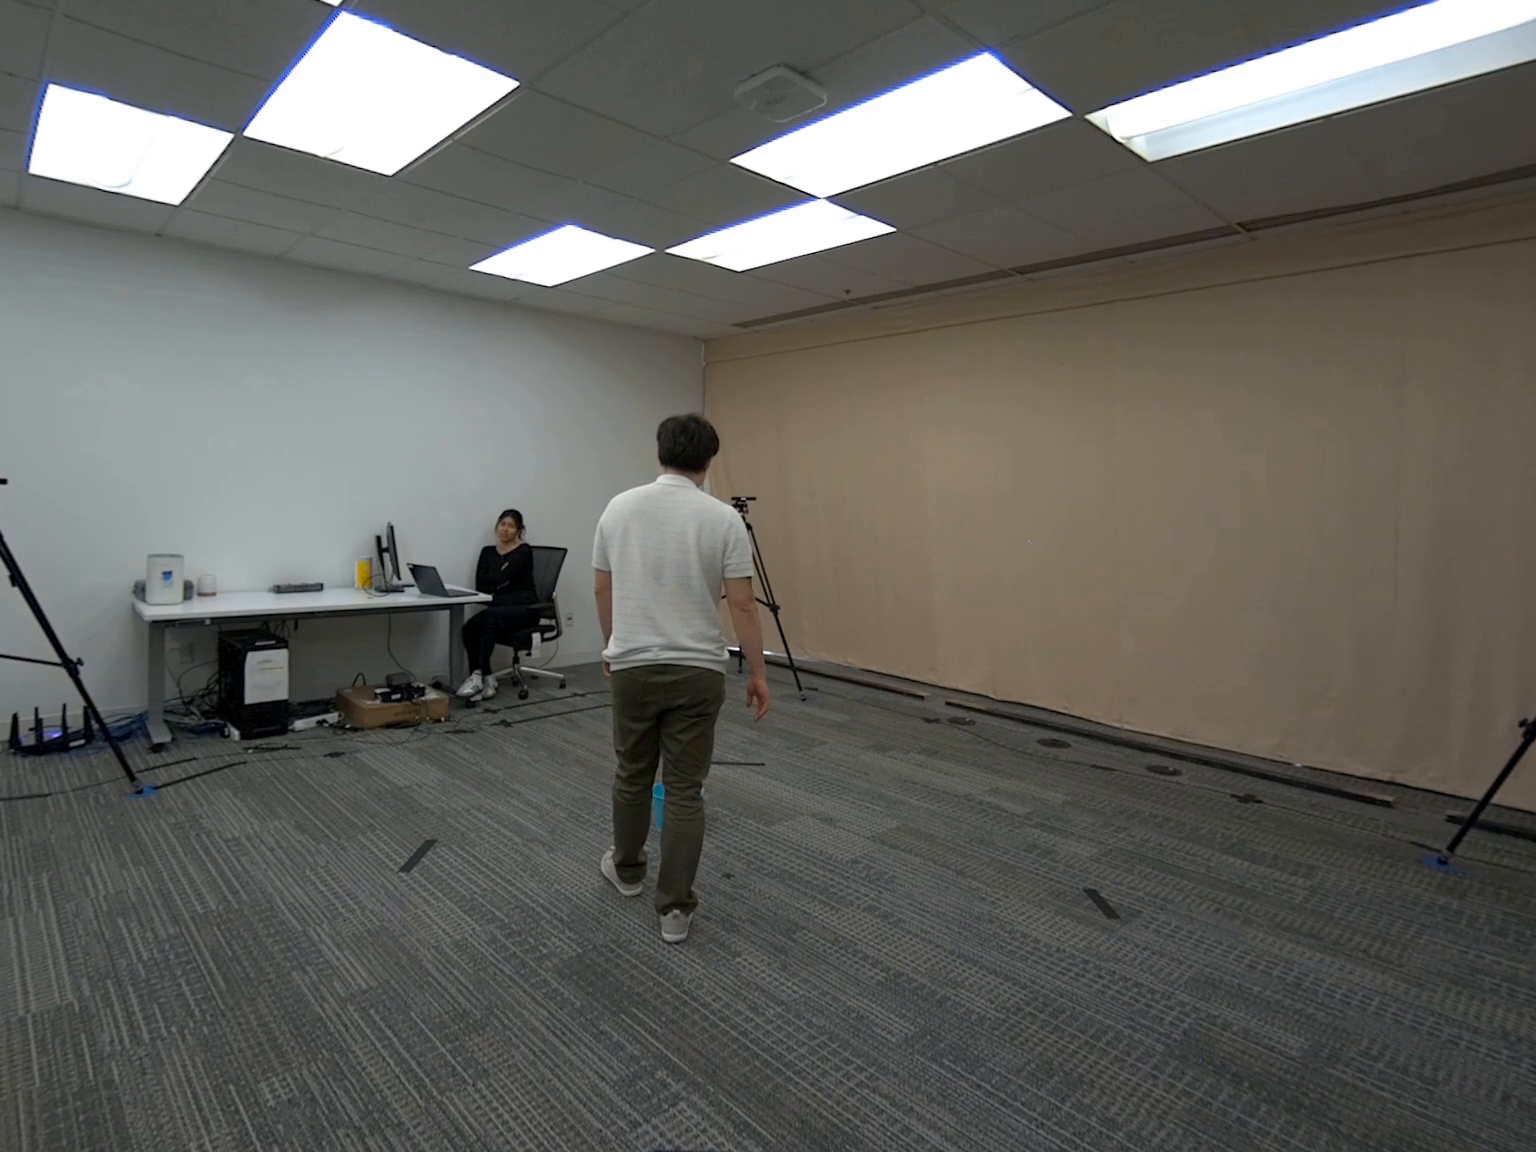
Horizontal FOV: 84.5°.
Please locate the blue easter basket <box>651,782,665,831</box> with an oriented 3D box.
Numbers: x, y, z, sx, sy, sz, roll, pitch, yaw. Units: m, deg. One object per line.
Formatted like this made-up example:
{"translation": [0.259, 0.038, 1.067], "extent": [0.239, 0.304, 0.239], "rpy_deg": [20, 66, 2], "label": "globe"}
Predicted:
{"translation": [-0.385, 0.984, 3.574], "extent": [0.243, 0.155, 0.244], "rpy_deg": [1, 5, -1], "label": "blue easter basket"}
